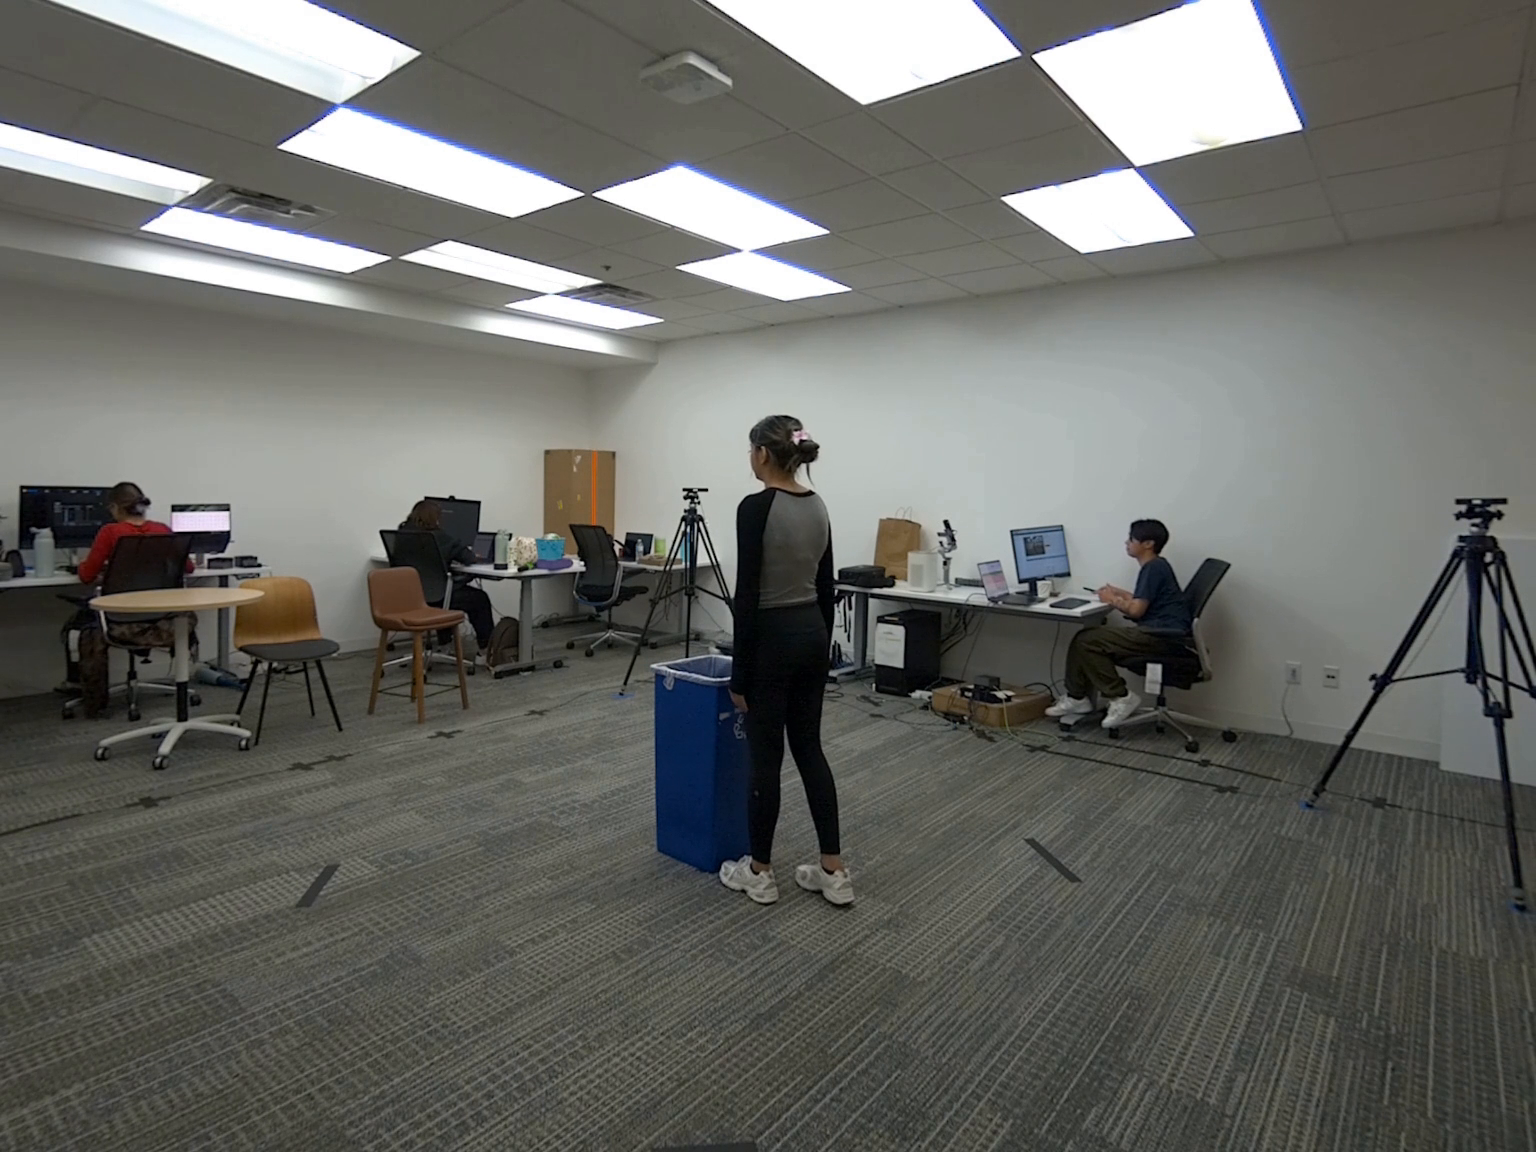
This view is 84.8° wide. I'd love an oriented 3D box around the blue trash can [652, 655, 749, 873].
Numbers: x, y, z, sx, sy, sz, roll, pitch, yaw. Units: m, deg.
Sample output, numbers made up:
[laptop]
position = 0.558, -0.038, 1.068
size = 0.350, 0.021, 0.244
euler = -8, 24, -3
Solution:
[blue trash can]
position = -0.224, 0.695, 3.268
size = 0.391, 0.711, 0.363
euler = 4, 4, 41
